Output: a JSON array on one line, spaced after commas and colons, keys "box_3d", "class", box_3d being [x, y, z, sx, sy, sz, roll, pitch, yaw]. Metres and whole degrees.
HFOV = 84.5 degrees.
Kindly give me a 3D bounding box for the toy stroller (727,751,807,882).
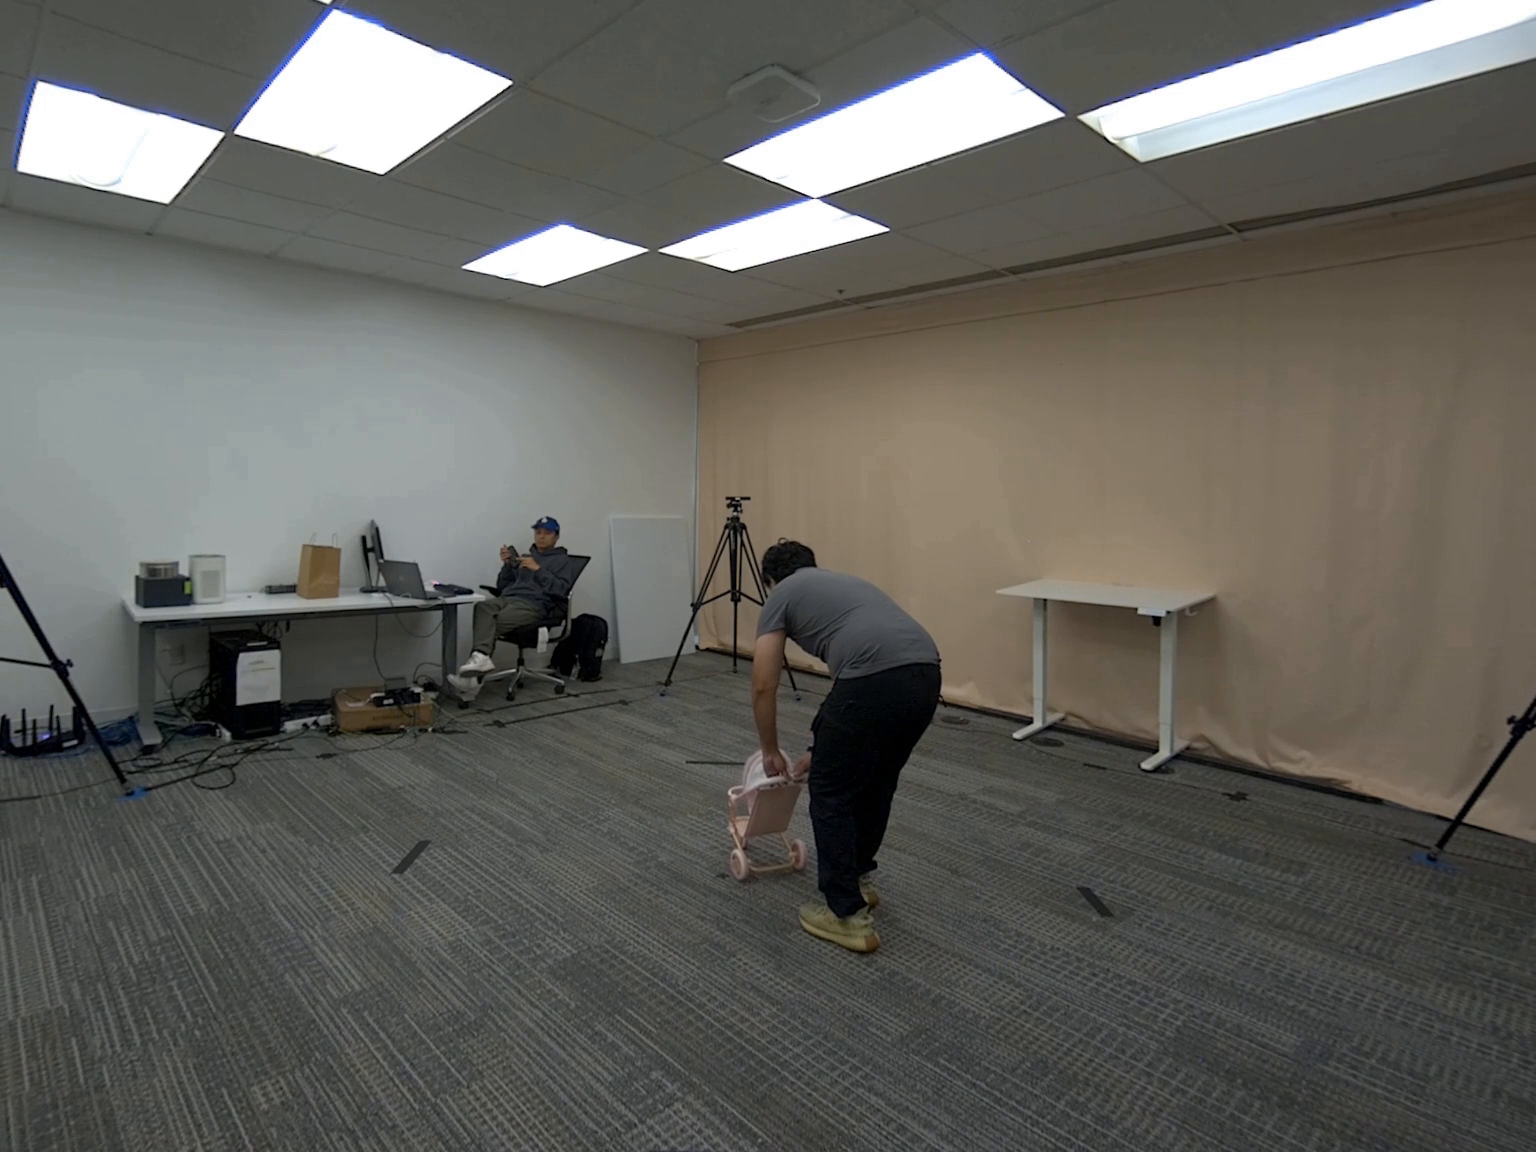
[{"box_3d": [-0.018, 0.878, 3.173, 0.277, 0.529, 0.350, 0, 20, -20], "class": "toy stroller"}]
